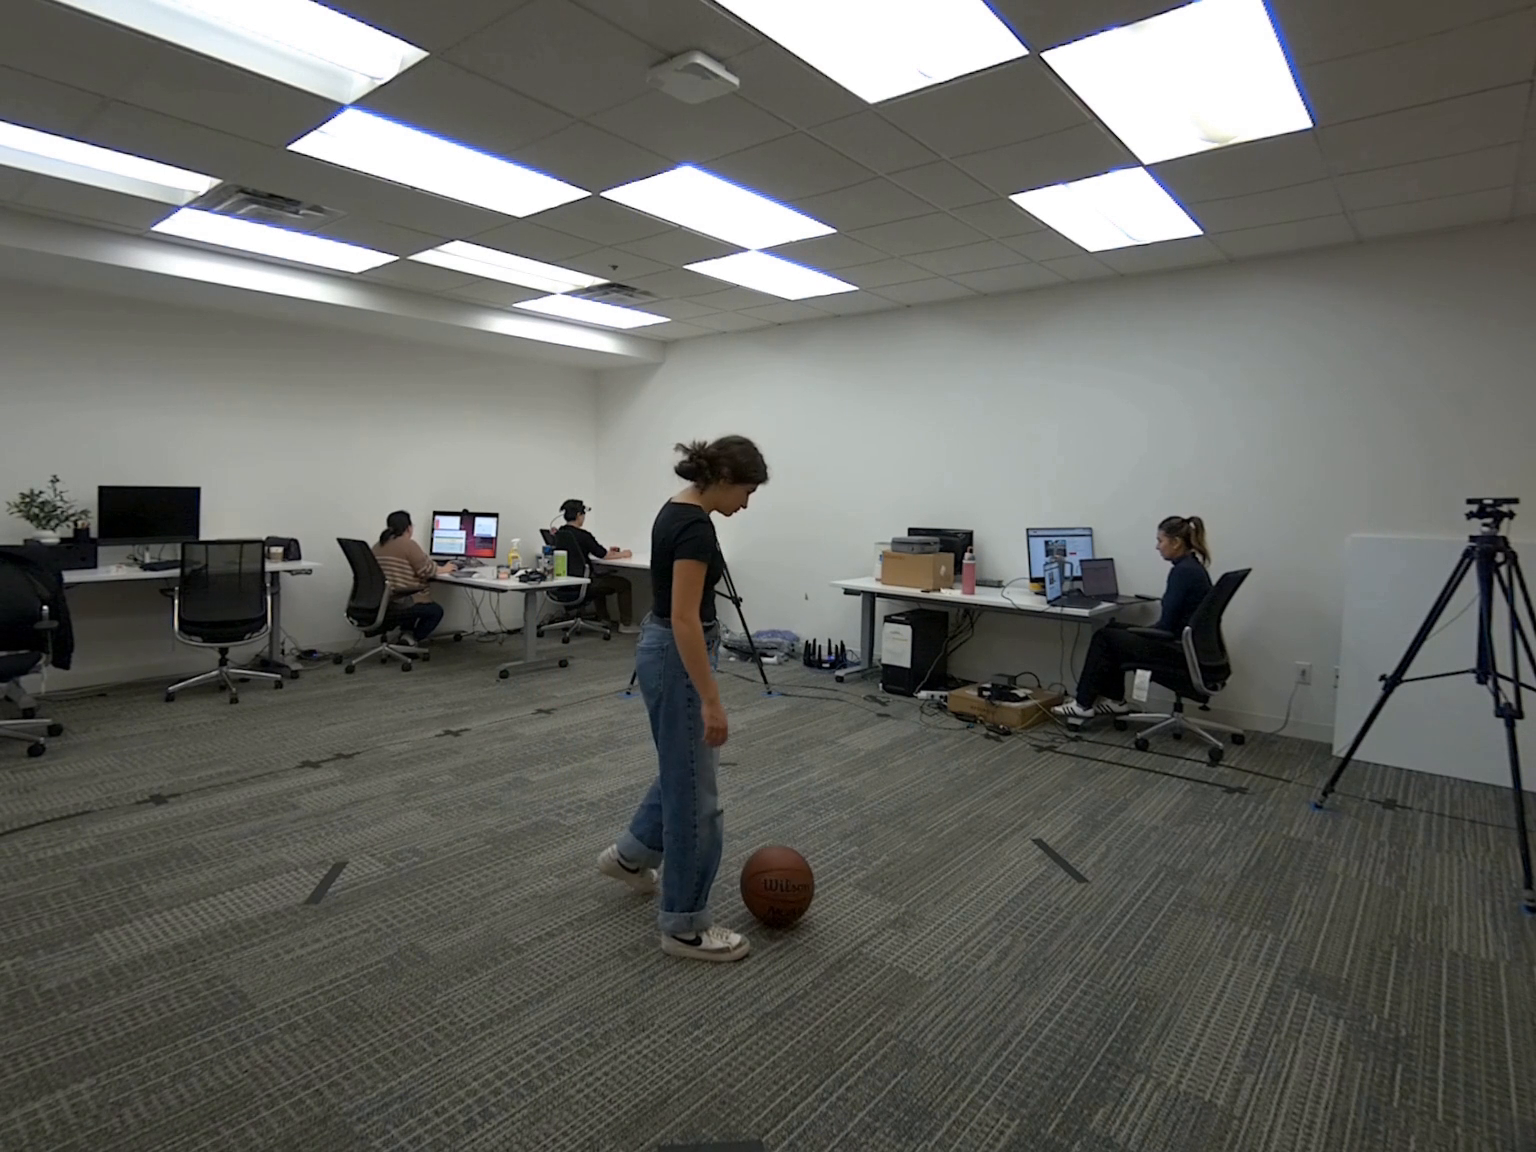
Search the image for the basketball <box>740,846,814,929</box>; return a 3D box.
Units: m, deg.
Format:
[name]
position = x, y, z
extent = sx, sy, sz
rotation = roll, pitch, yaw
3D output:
[basketball]
position = 0.022, 0.985, 2.734
extent = 0.235, 0.235, 0.237
rotation = 1, 4, -2
